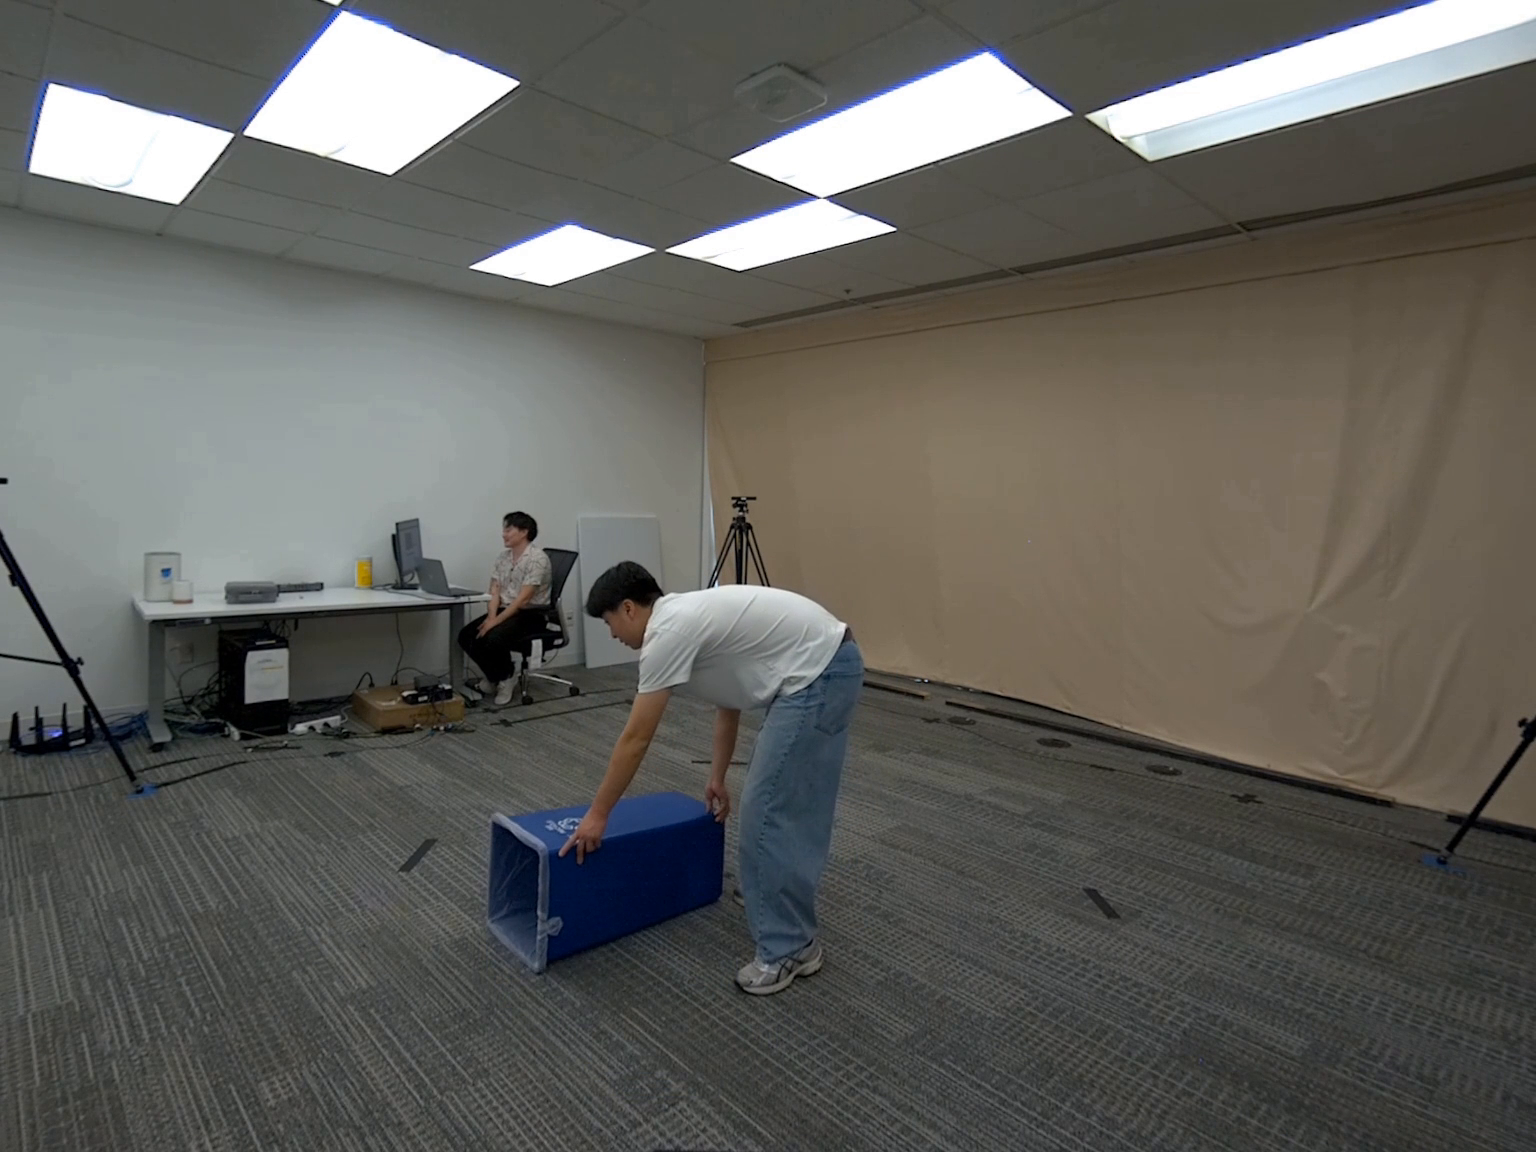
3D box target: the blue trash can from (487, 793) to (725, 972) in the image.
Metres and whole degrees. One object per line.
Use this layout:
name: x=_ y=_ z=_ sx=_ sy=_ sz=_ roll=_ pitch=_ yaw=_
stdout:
blue trash can: x=-0.524 y=0.961 z=2.794 sx=0.696 sy=0.378 sz=0.383 roll=1 pitch=2 yaw=-42
